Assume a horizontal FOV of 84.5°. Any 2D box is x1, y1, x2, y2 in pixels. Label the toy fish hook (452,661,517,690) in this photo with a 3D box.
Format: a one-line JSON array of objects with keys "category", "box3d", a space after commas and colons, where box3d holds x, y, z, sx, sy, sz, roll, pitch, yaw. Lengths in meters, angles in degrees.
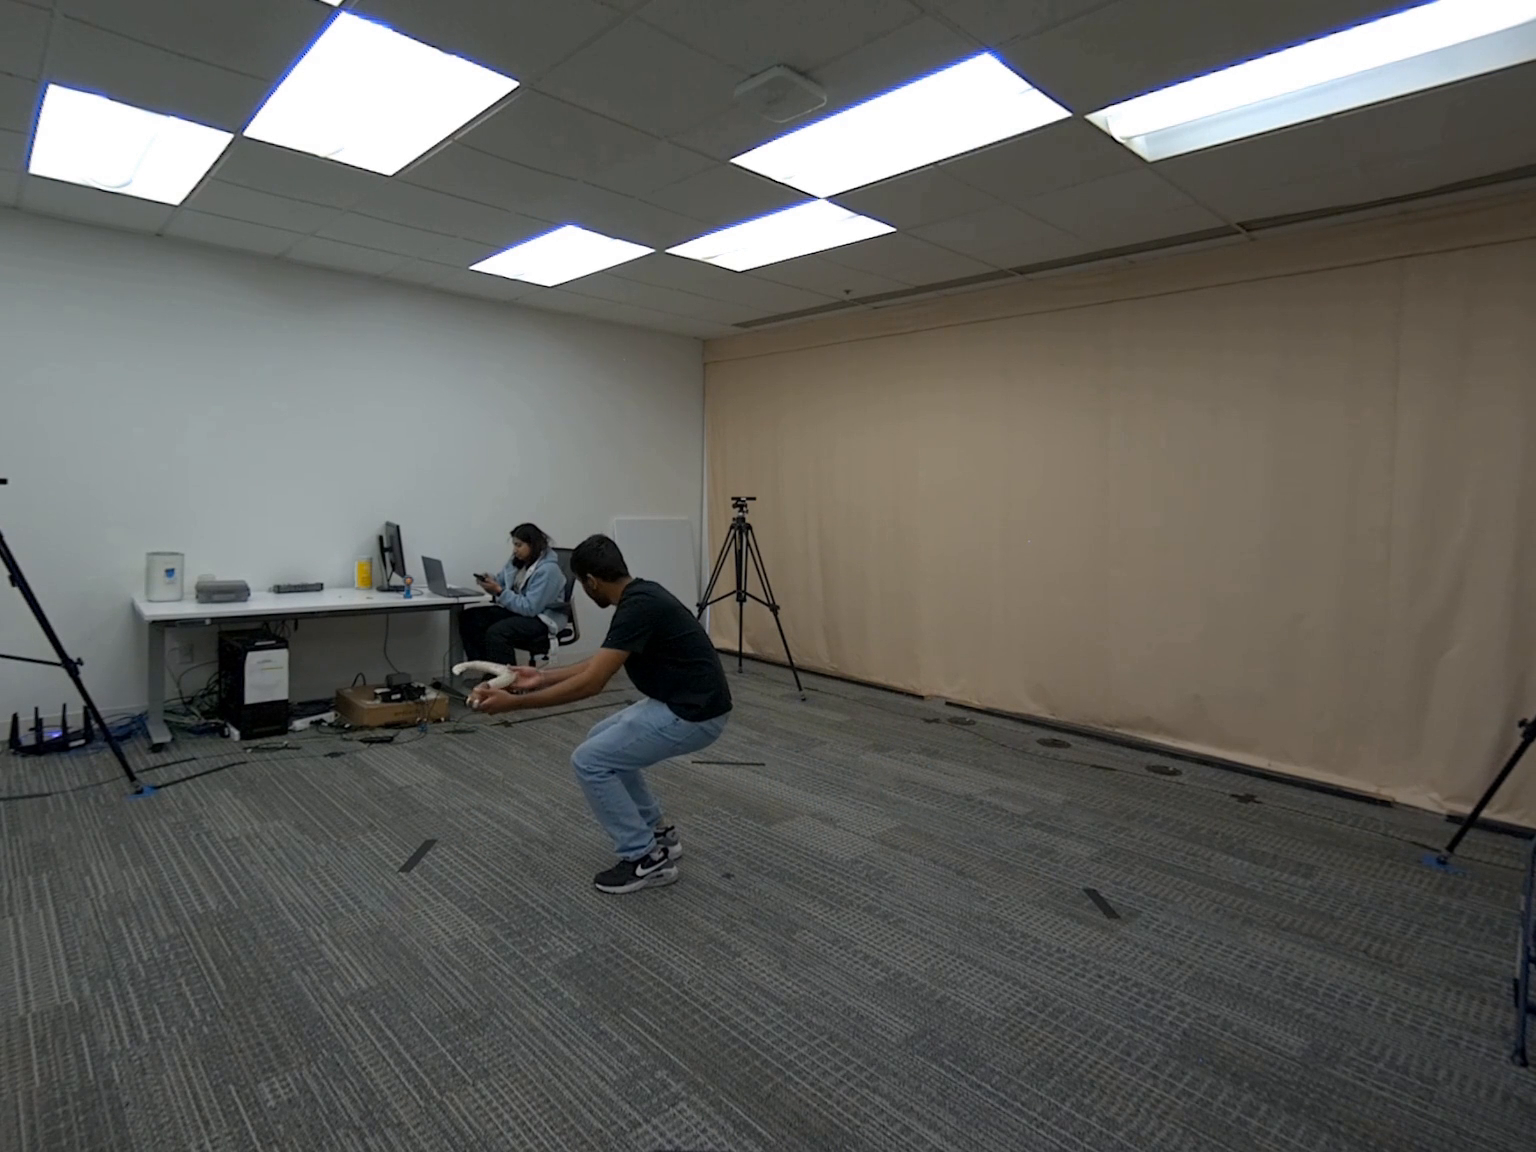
[{"category": "toy fish hook", "box3d": [-1.037, 0.381, 3.019, 0.224, 0.048, 0.509, 9, 5, -3]}]
